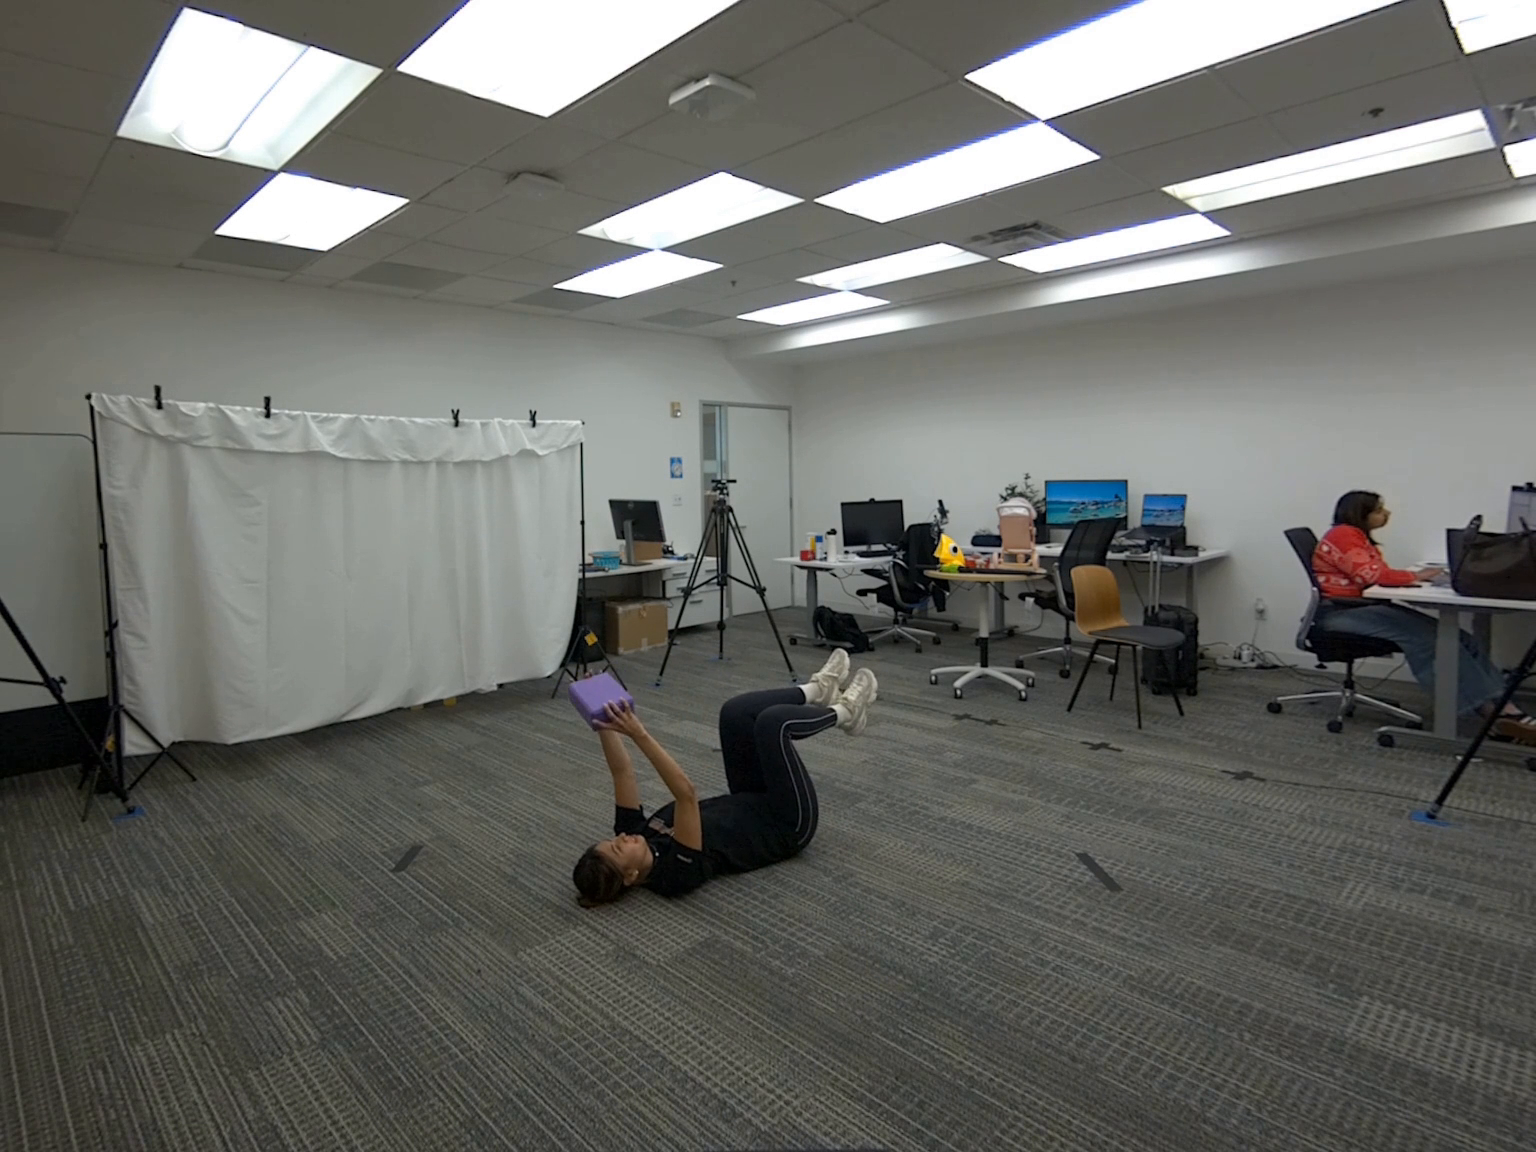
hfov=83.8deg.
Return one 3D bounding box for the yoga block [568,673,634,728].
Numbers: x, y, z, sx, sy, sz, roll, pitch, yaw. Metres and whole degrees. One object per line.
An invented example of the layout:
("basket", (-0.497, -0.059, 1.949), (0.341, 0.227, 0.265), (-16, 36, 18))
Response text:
("yoga block", (-0.546, 0.410, 2.812), (0.146, 0.075, 0.238), (-16, 25, -29))
